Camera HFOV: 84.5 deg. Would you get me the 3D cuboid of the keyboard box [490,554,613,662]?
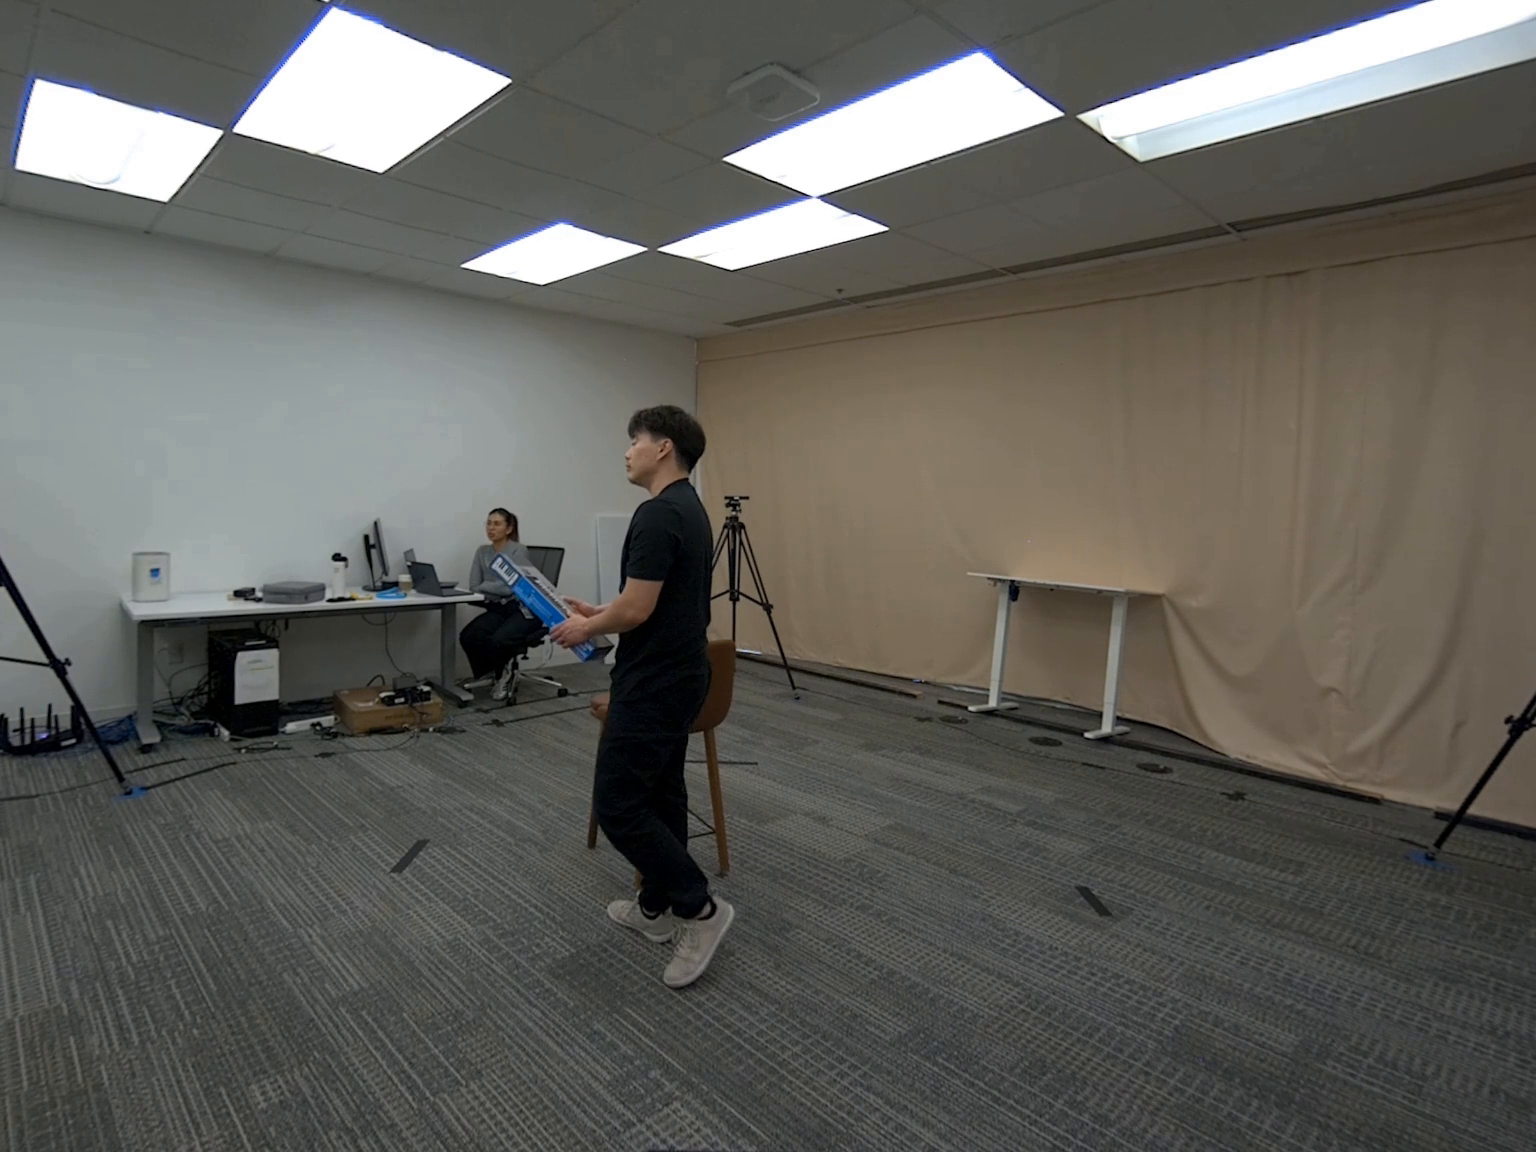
[{"bbox_3d":[-0.679,0.100,2.656,0.442,0.059,0.174,43,5,12],"label":"keyboard box"}]
